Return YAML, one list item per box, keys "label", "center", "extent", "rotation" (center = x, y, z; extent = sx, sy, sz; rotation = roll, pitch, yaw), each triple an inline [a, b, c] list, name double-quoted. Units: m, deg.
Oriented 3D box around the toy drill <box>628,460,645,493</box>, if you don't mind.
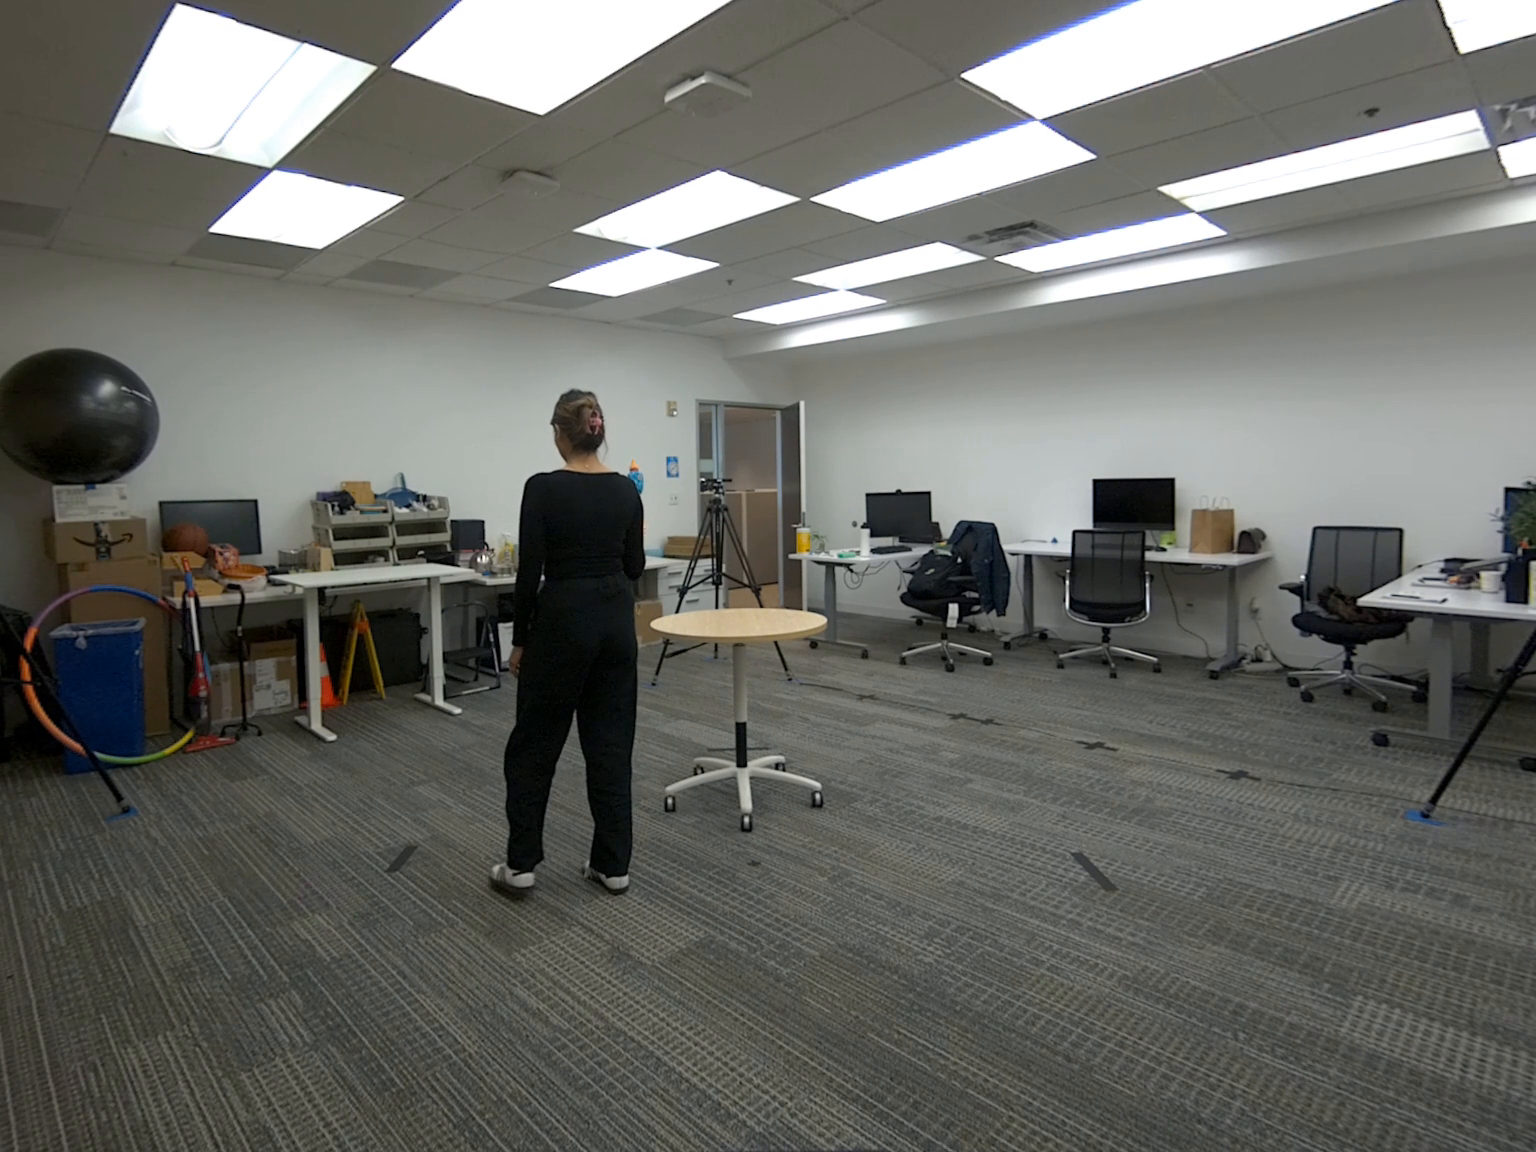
- label: "toy drill"
  center: [-0.518, -0.354, 3.254]
  extent: [0.059, 0.174, 0.146]
  rotation: [6, -33, -32]
